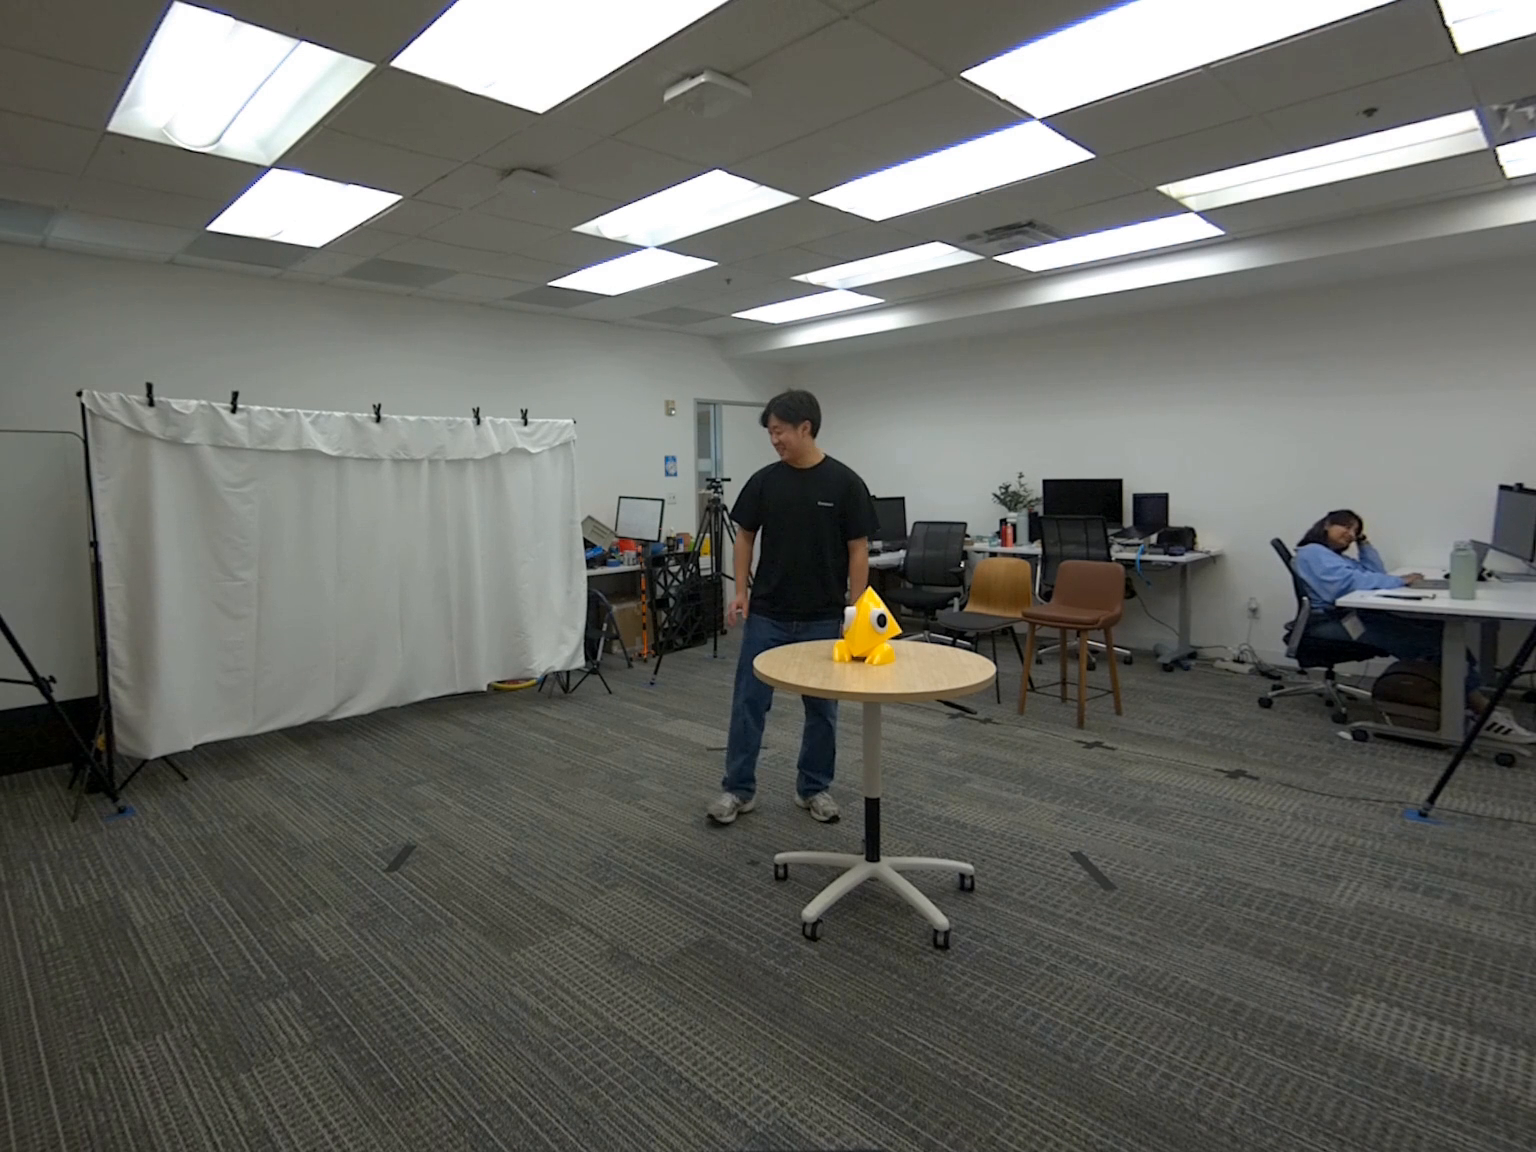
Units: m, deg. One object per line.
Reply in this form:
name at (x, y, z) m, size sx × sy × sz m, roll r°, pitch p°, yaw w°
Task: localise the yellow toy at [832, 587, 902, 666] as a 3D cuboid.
yellow toy at (0.319, 0.160, 2.814) m, size 0.210 × 0.230 × 0.189 m, roll 3°, pitch 6°, yaw 27°
